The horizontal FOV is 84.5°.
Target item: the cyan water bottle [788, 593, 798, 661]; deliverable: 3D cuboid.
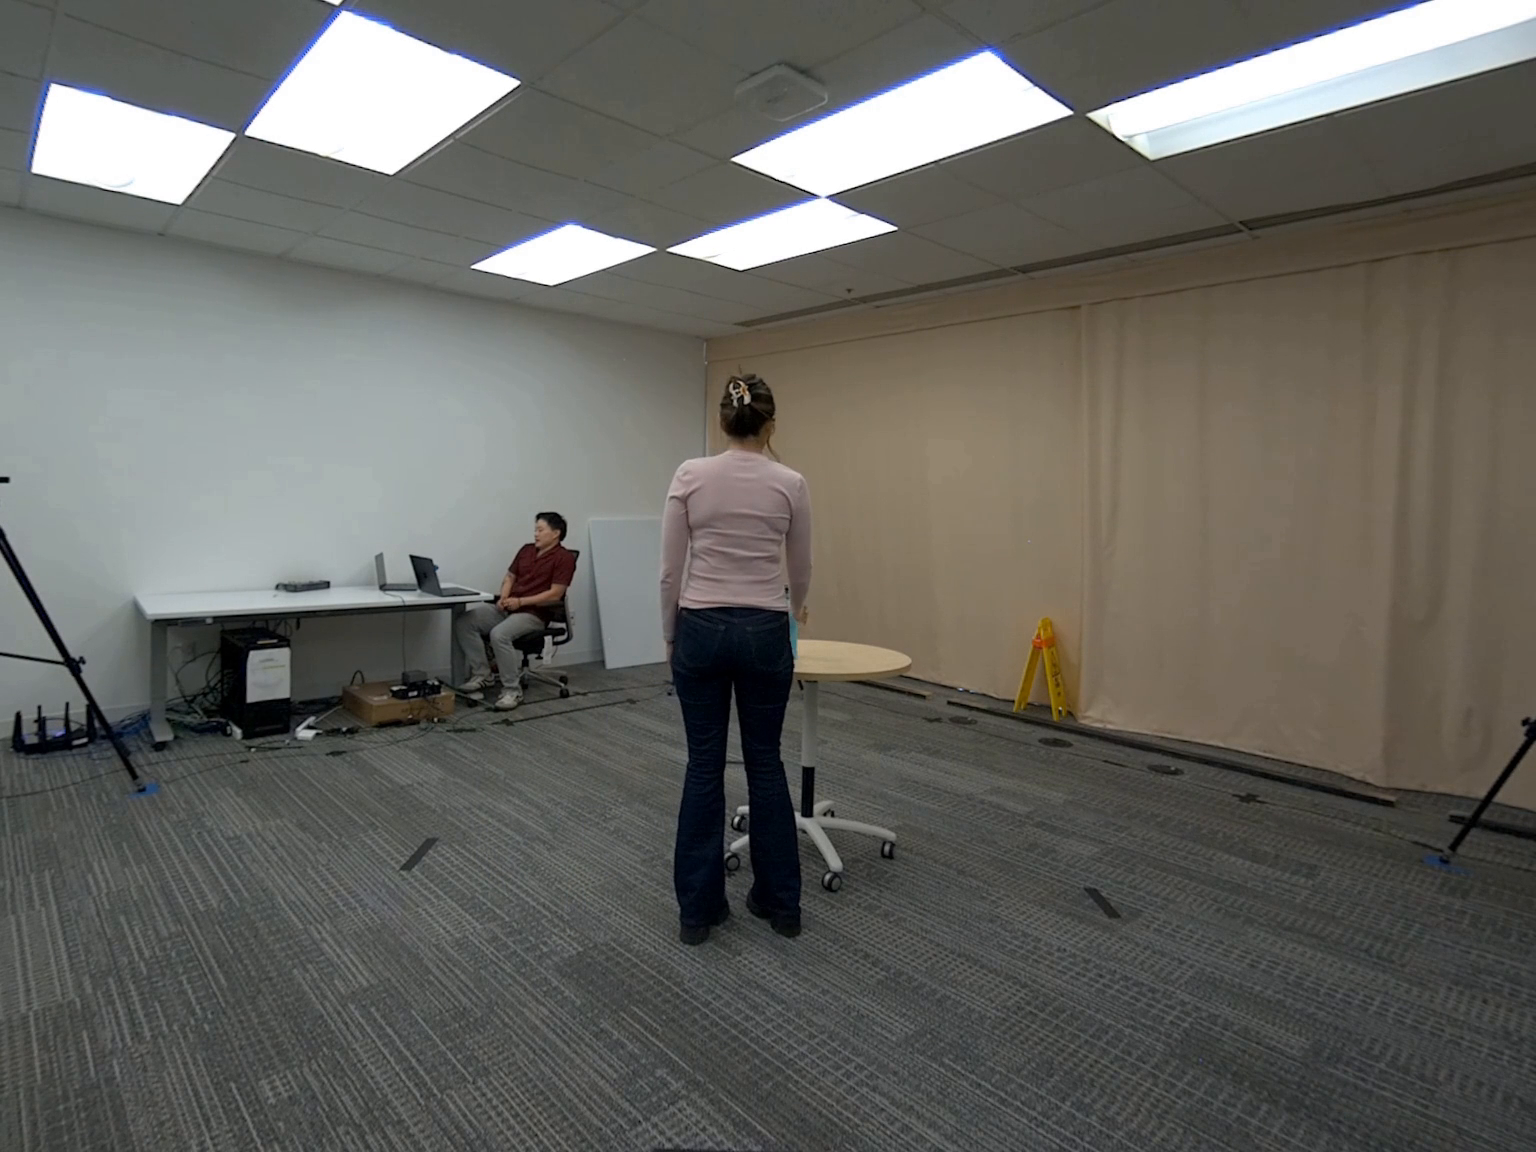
[{"bbox_3d":[0.075,0.178,3.195,0.092,0.283,0.092,3,3,-2],"label":"cyan water bottle"}]
